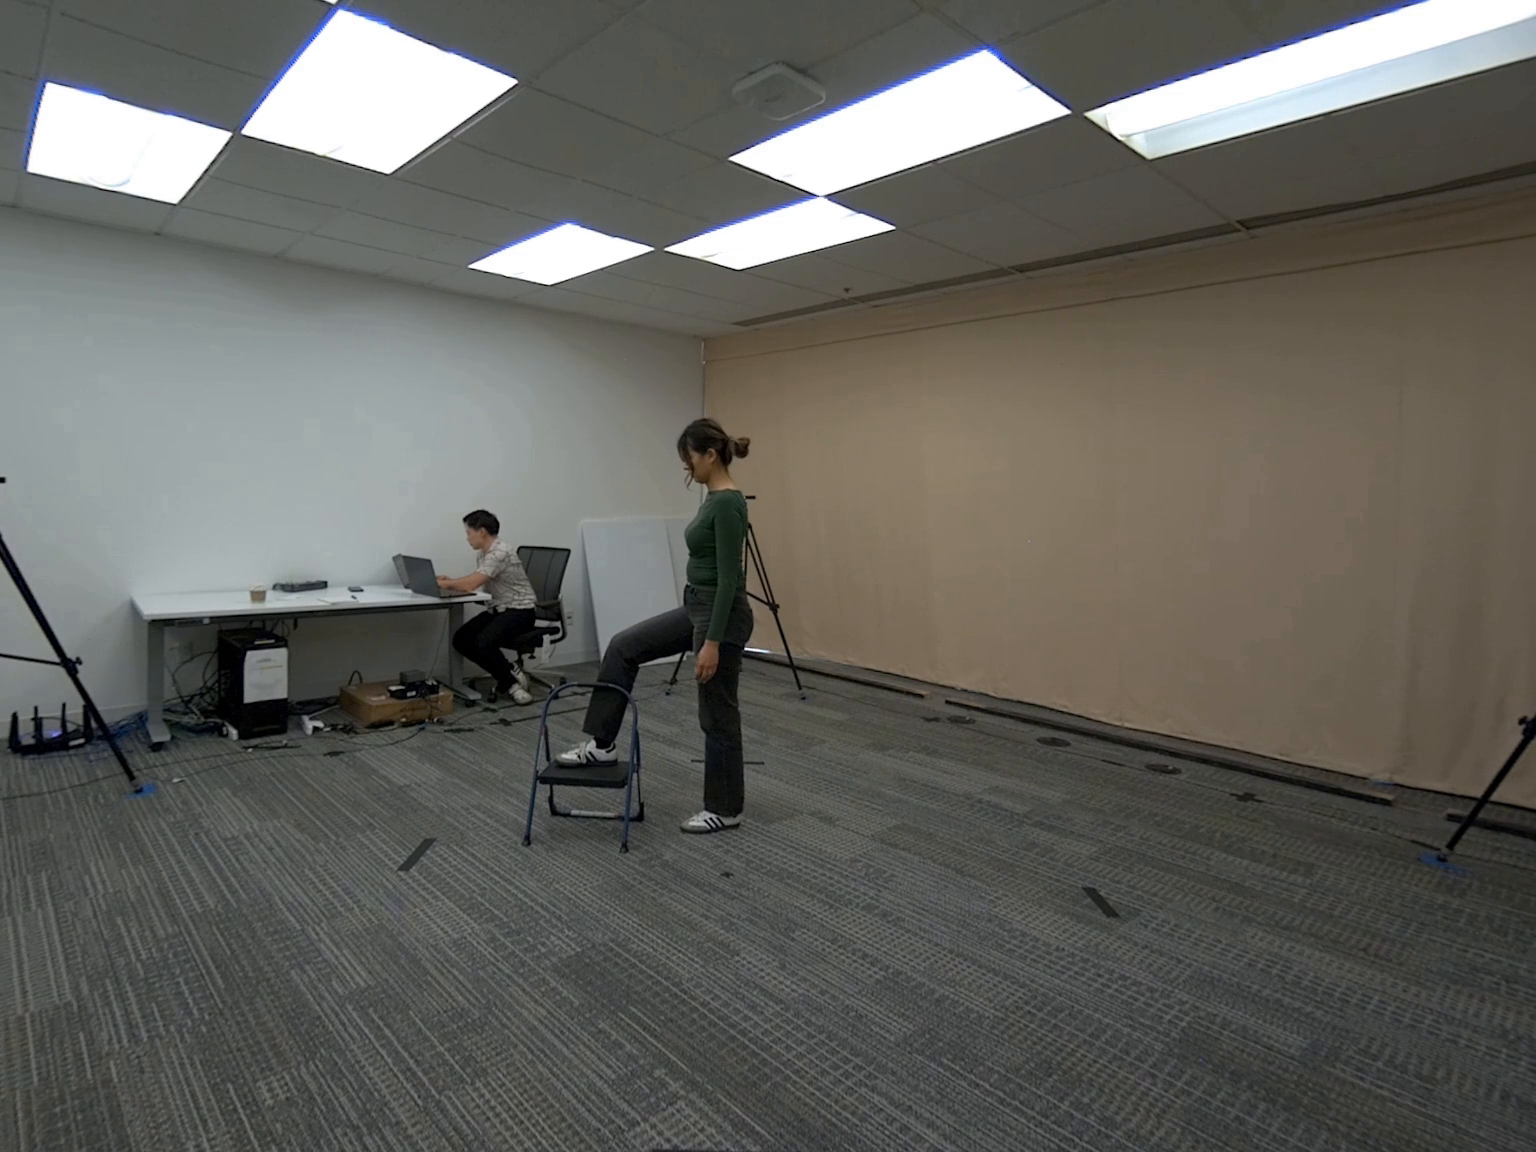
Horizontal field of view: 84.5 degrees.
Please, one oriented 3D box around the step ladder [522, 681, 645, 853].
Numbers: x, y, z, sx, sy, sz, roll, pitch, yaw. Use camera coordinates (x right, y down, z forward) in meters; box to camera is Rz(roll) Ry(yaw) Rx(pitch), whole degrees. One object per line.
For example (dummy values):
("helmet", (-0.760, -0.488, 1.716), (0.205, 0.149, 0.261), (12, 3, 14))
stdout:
("step ladder", (-0.749, 0.760, 3.446), (0.433, 0.604, 0.349), (2, 5, 5))
